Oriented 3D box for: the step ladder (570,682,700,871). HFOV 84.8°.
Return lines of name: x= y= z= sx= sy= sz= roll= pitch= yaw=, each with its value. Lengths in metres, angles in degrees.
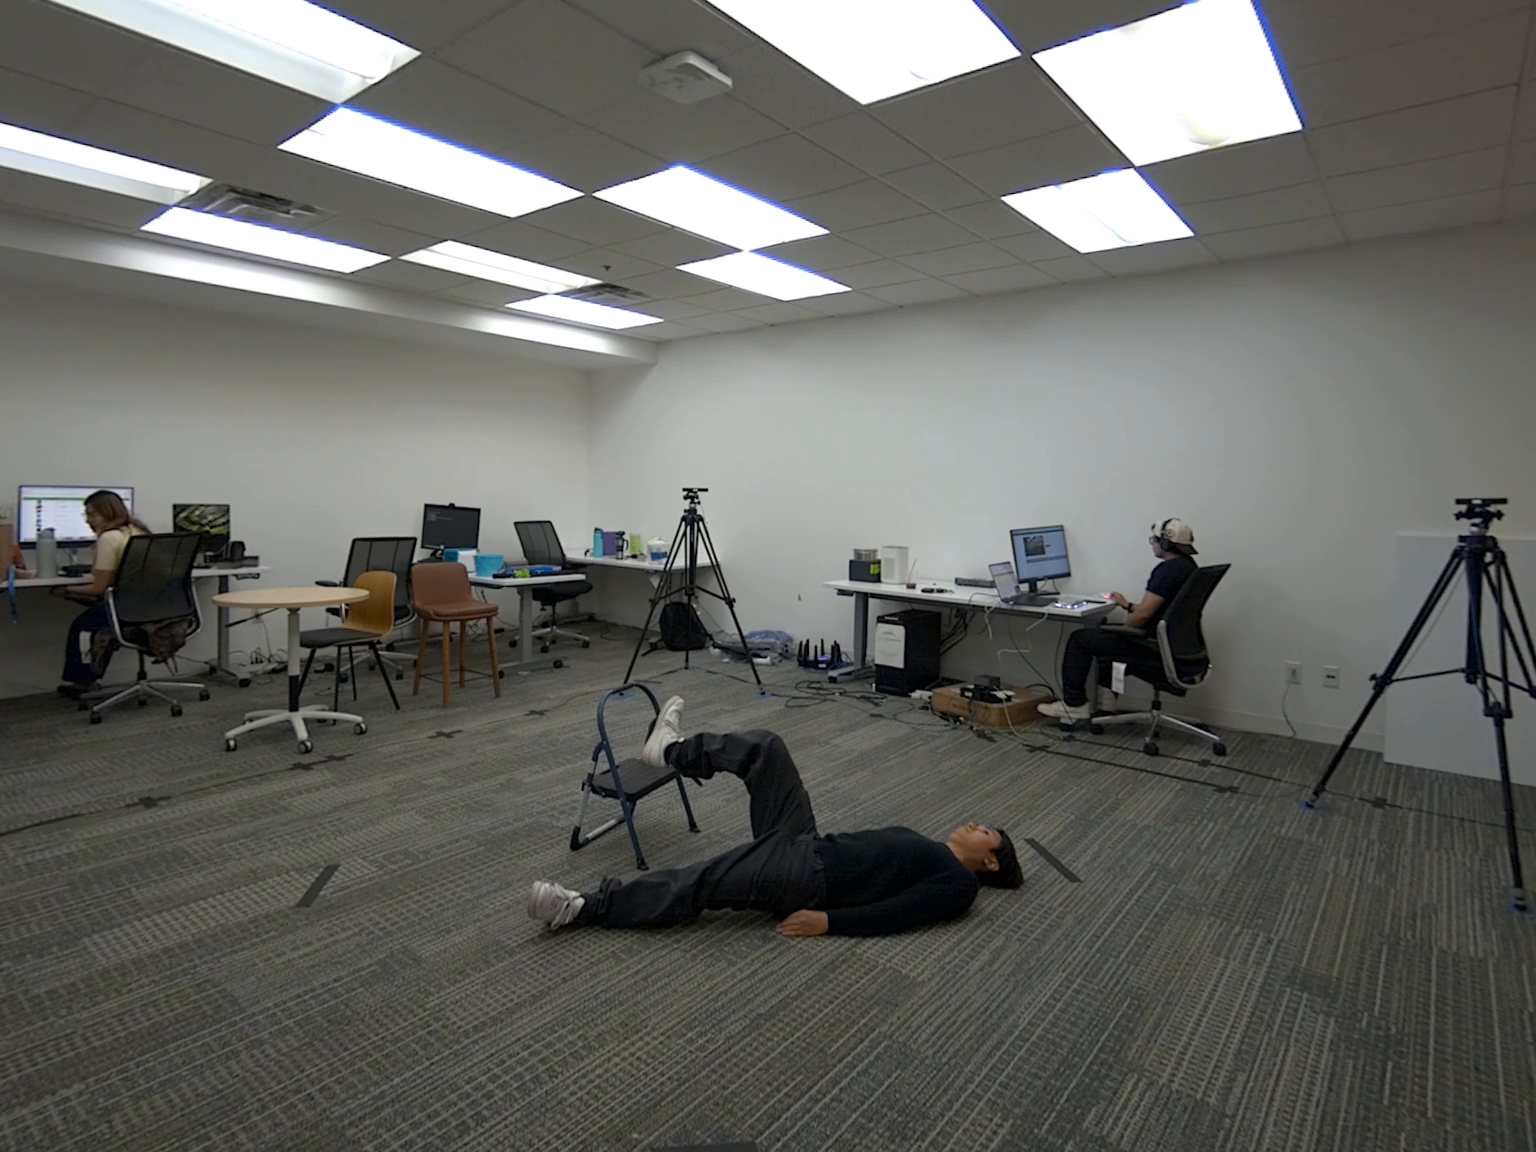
step ladder: x=-0.525 y=0.738 z=3.343 sx=0.358 sy=0.604 sz=0.421 roll=3 pitch=4 yaw=25
